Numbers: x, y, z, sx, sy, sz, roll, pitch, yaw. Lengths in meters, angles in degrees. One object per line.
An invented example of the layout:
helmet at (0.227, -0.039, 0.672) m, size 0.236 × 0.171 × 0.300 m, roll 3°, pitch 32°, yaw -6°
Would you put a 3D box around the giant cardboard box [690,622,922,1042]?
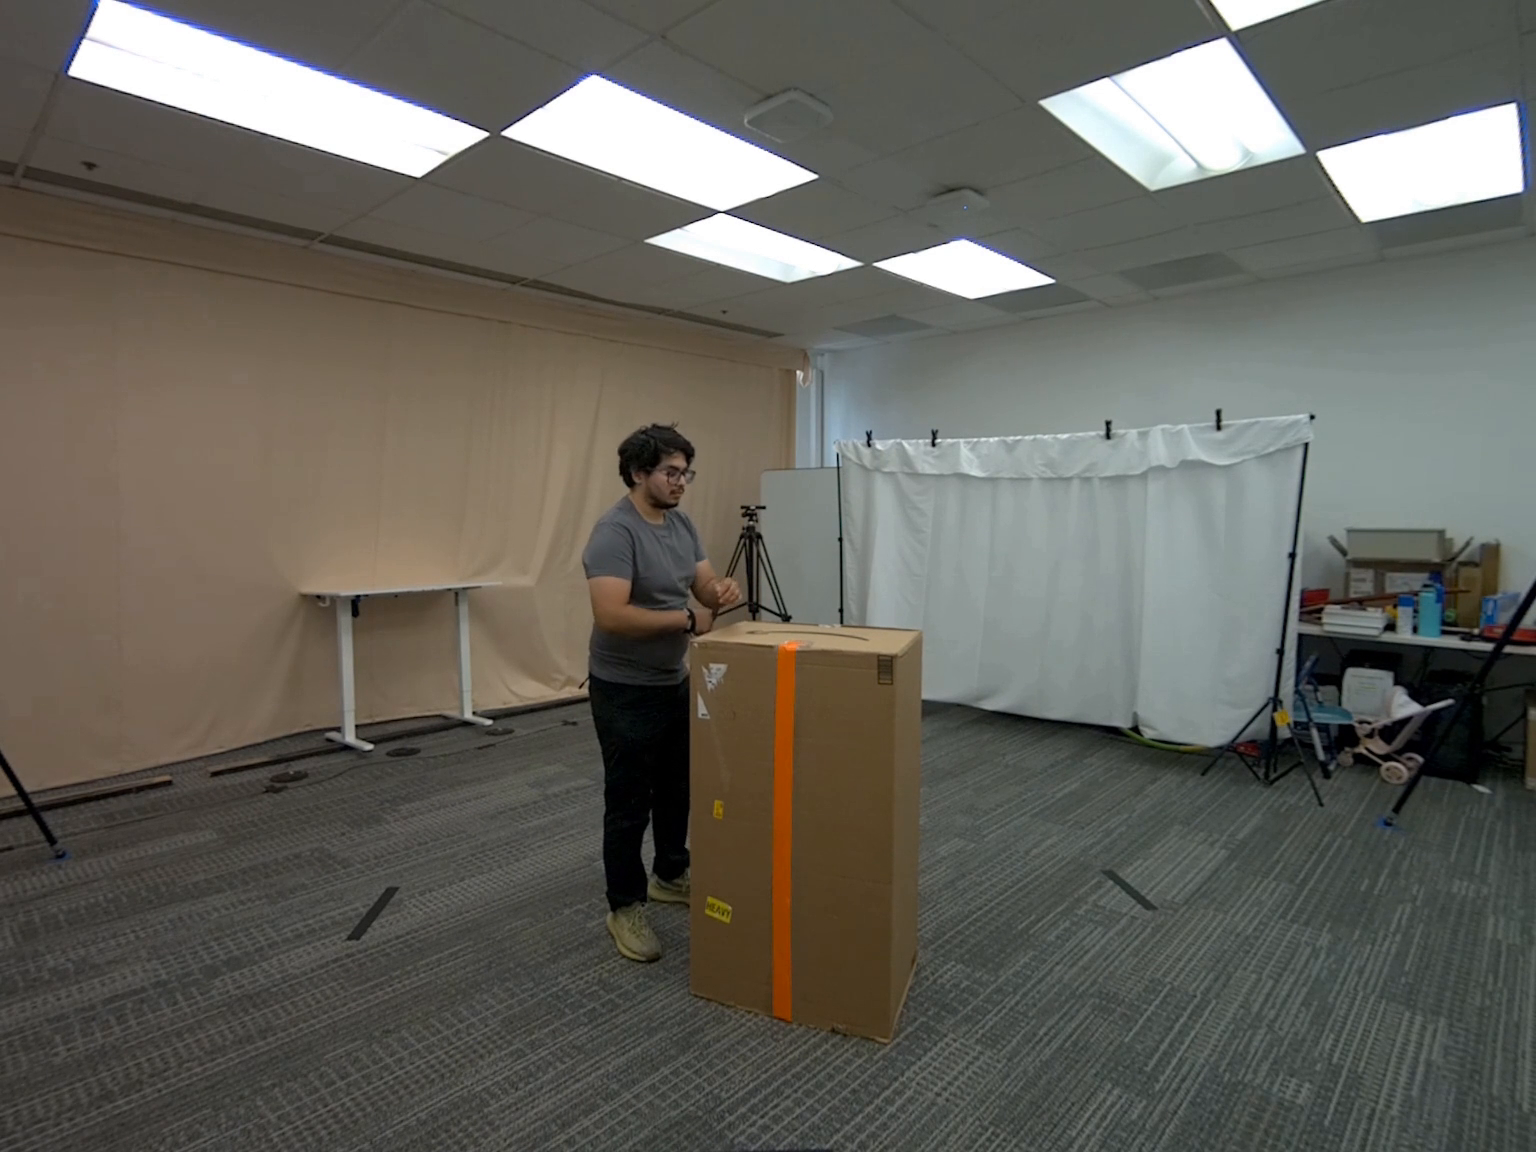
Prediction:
giant cardboard box at (0.127, 0.682, 2.440) m, size 0.591 × 1.024 × 0.417 m, roll 2°, pitch 3°, yaw 22°
